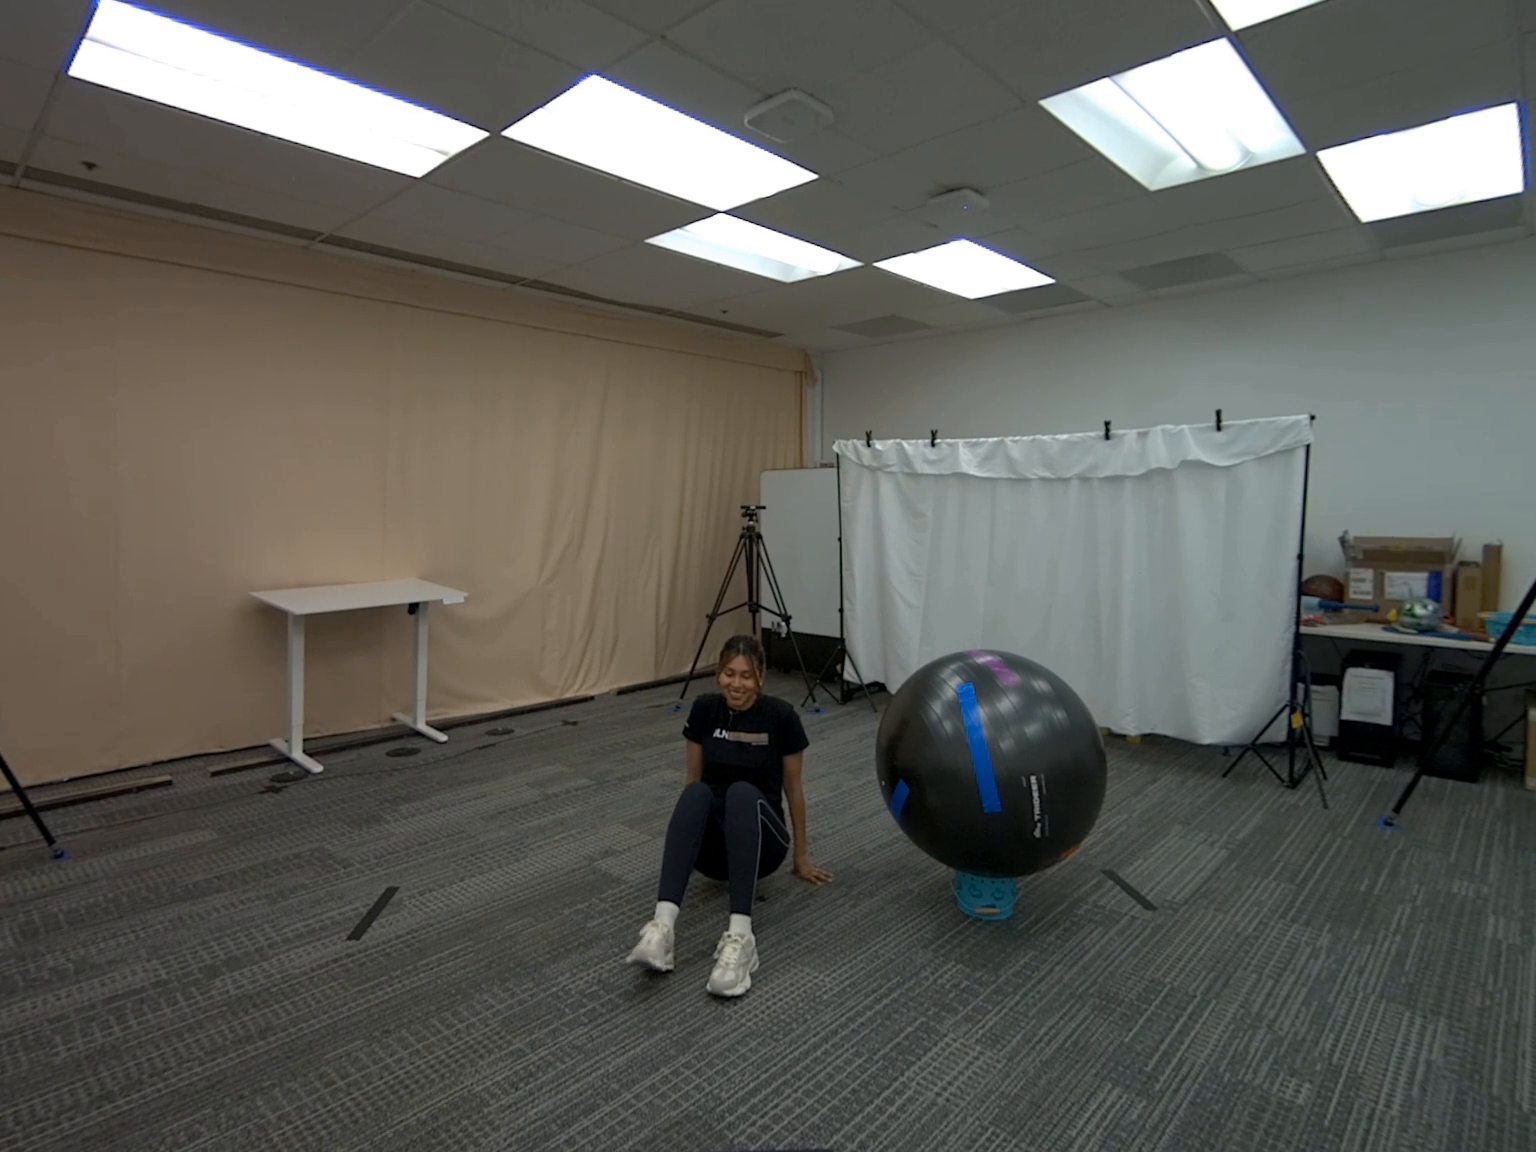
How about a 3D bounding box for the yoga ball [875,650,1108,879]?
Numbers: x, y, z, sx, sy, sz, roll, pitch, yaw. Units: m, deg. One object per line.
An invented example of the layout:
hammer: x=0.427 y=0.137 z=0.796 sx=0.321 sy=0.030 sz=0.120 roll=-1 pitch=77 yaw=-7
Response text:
yoga ball: x=0.764 y=0.644 z=2.904 sx=0.757 sy=0.756 sz=0.760 roll=0 pitch=4 yaw=-2
